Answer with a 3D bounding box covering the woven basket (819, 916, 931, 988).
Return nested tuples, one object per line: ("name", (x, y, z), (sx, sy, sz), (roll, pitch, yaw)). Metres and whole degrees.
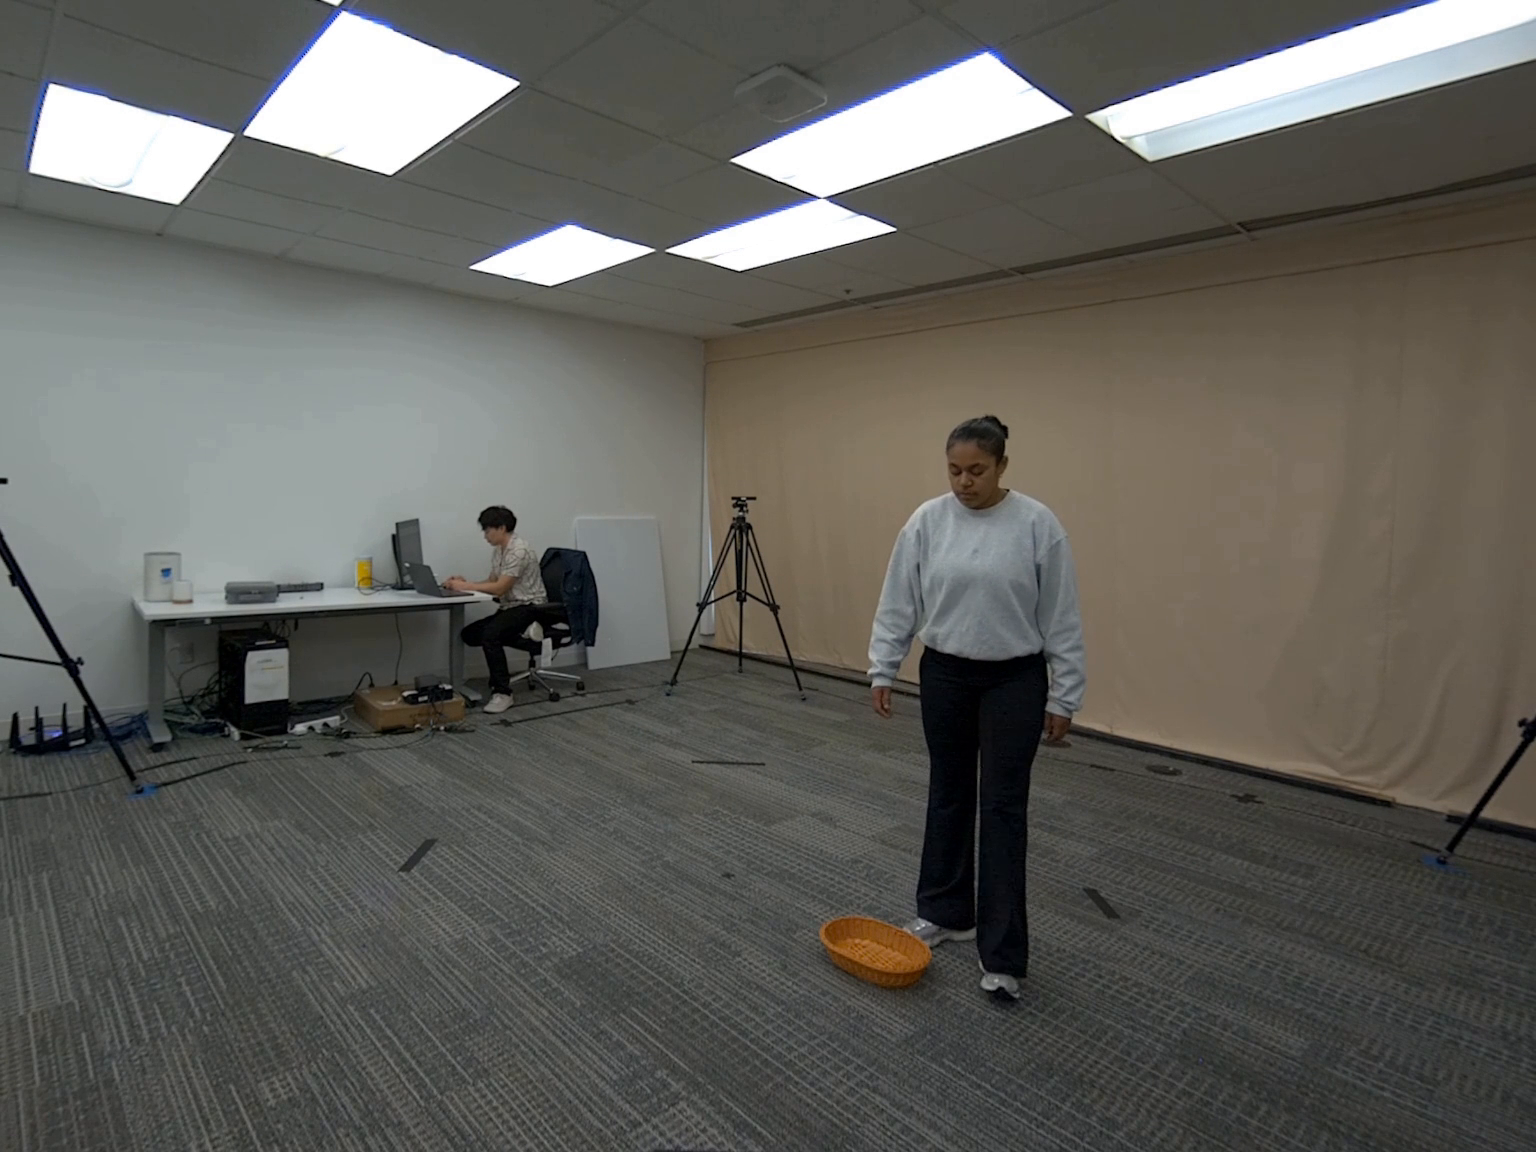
("woven basket", (0.310, 1.134, 2.531), (0.359, 0.073, 0.246), (6, 7, 44))
